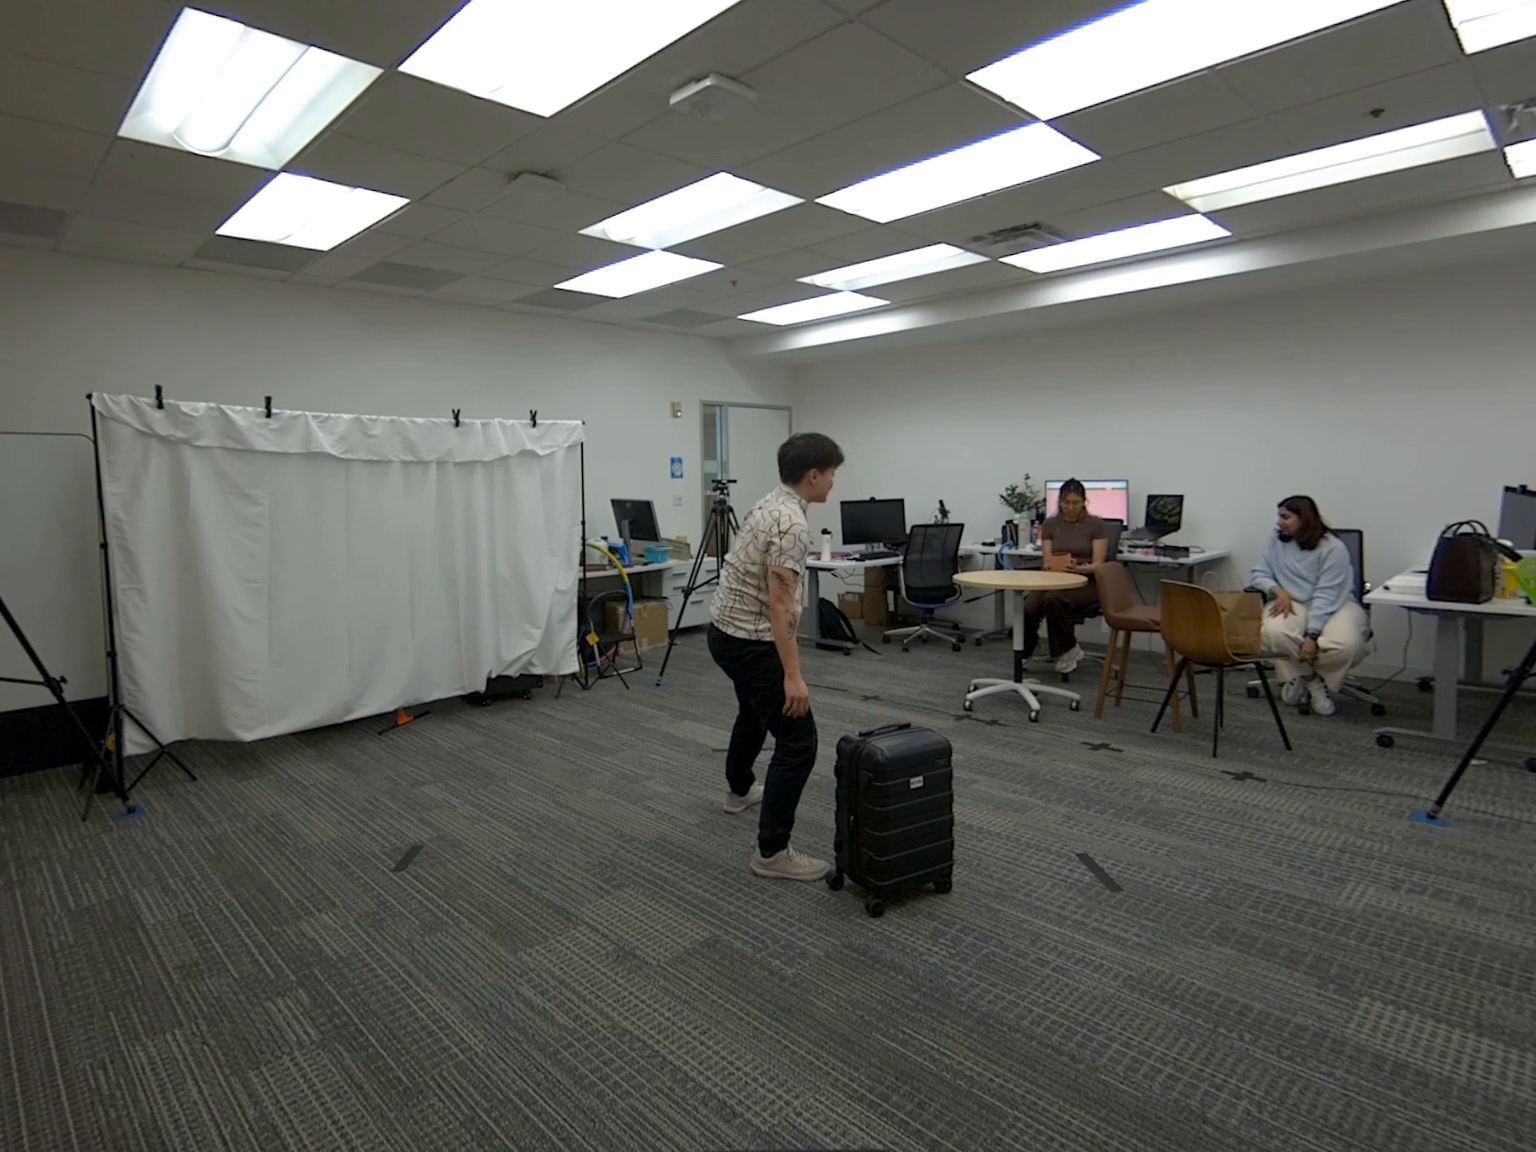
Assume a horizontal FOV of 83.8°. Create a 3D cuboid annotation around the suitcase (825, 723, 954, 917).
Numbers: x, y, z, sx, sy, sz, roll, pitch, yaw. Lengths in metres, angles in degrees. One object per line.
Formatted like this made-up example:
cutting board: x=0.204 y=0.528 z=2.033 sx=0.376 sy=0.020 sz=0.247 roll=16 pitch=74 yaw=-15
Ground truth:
suitcase: x=0.432 y=0.789 z=2.884 sx=0.366 sy=0.548 sz=0.255 roll=-2 pitch=4 yaw=-30
